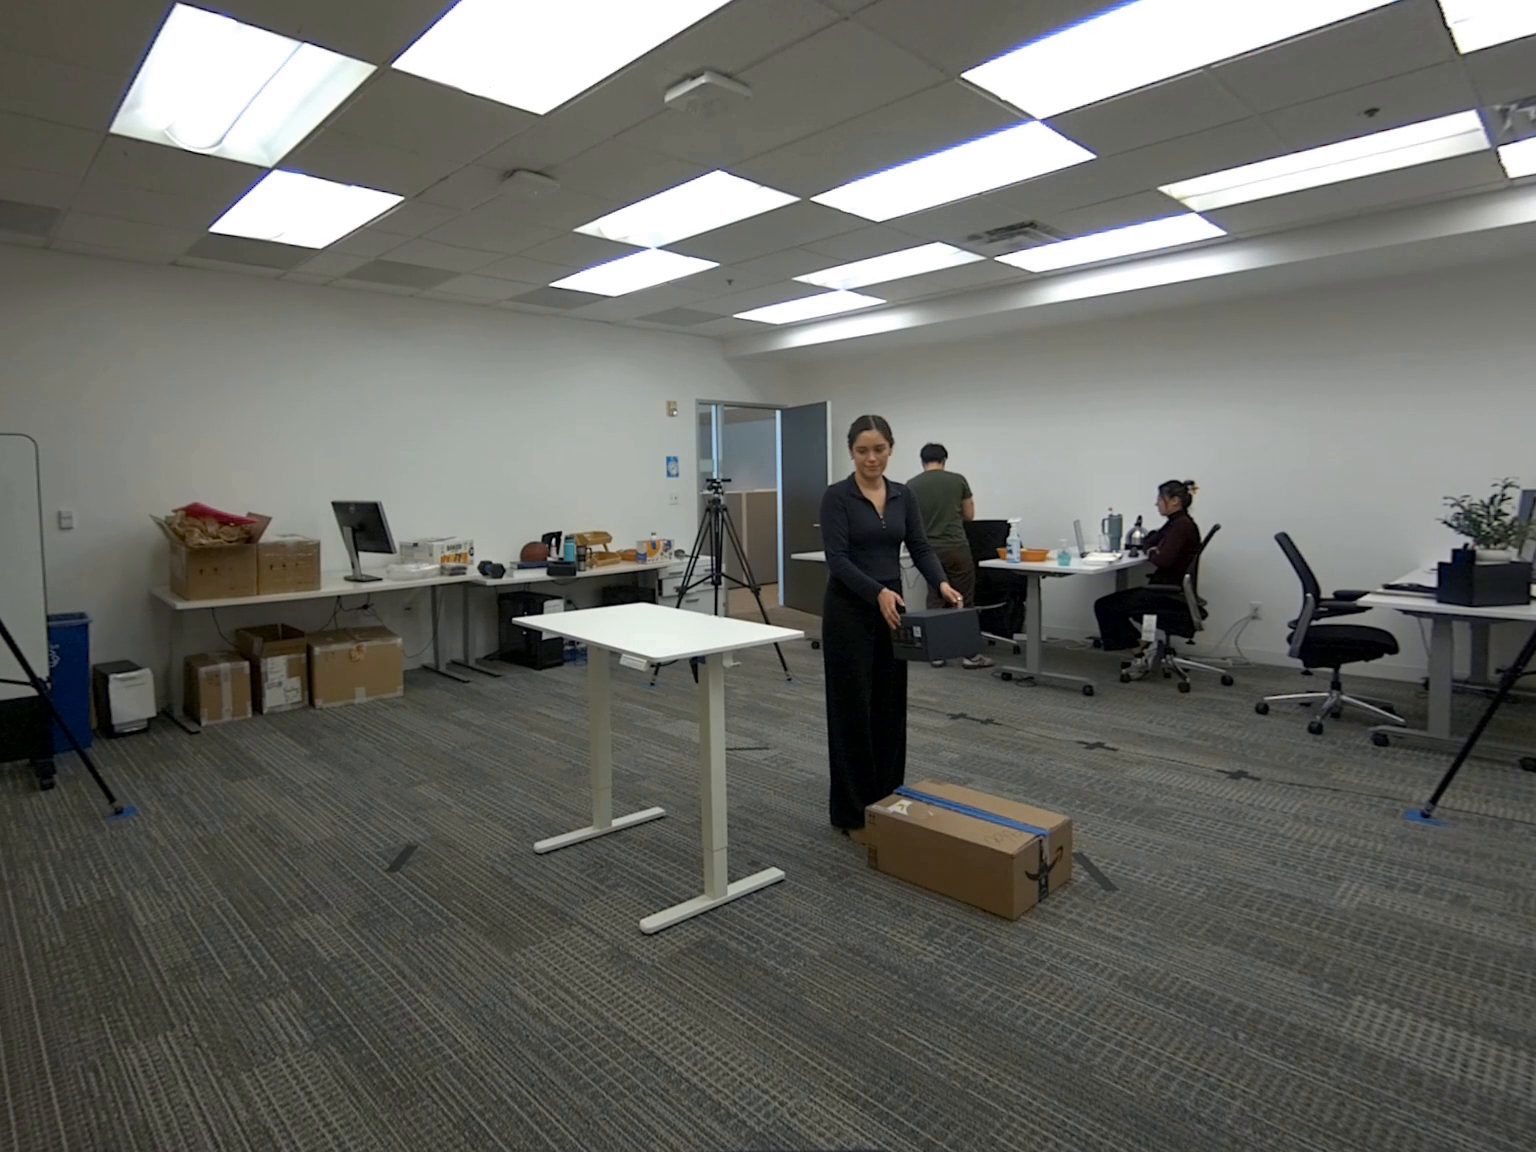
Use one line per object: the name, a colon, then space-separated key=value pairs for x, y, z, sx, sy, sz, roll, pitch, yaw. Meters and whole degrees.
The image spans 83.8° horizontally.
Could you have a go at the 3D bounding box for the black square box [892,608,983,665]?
black square box: x=0.591 y=0.197 z=2.989 sx=0.225 sy=0.156 sz=0.219 roll=-10 pitch=0 yaw=-14
